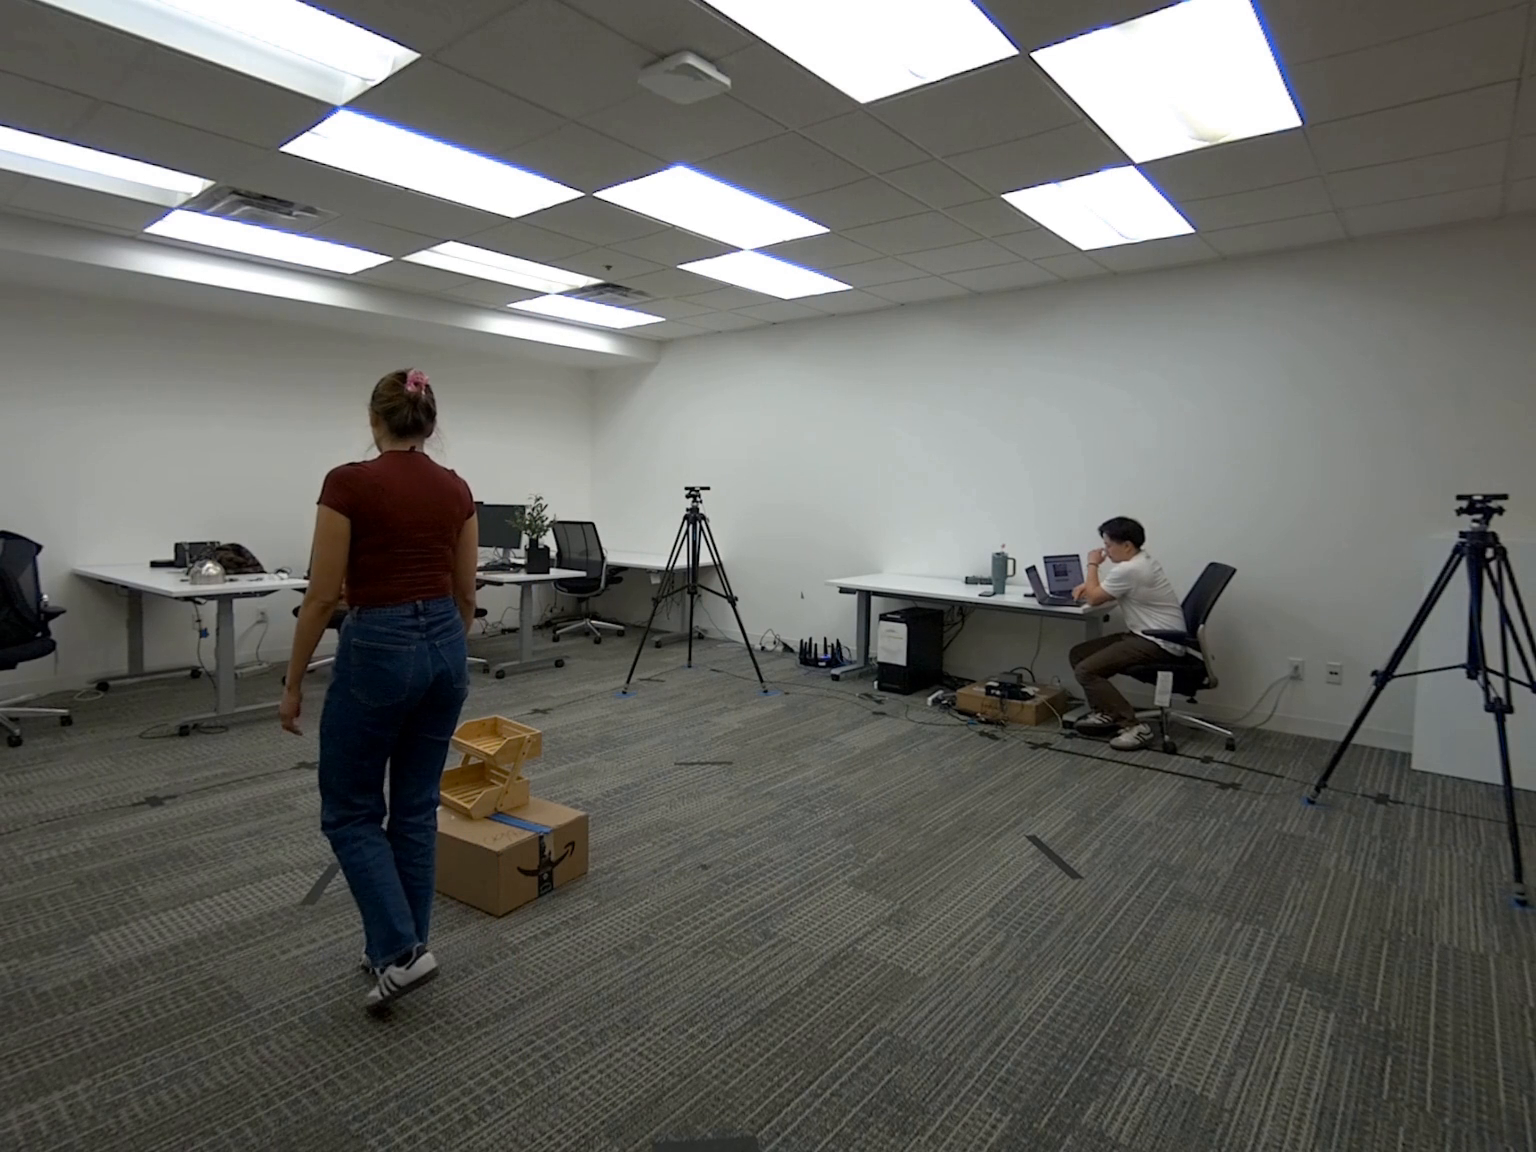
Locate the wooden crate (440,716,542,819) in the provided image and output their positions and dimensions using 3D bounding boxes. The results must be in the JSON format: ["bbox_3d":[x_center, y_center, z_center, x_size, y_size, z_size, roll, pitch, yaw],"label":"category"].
[{"bbox_3d":[-1.074,0.700,3.175,0.336,0.272,0.293,6,6,41],"label":"wooden crate"}]
